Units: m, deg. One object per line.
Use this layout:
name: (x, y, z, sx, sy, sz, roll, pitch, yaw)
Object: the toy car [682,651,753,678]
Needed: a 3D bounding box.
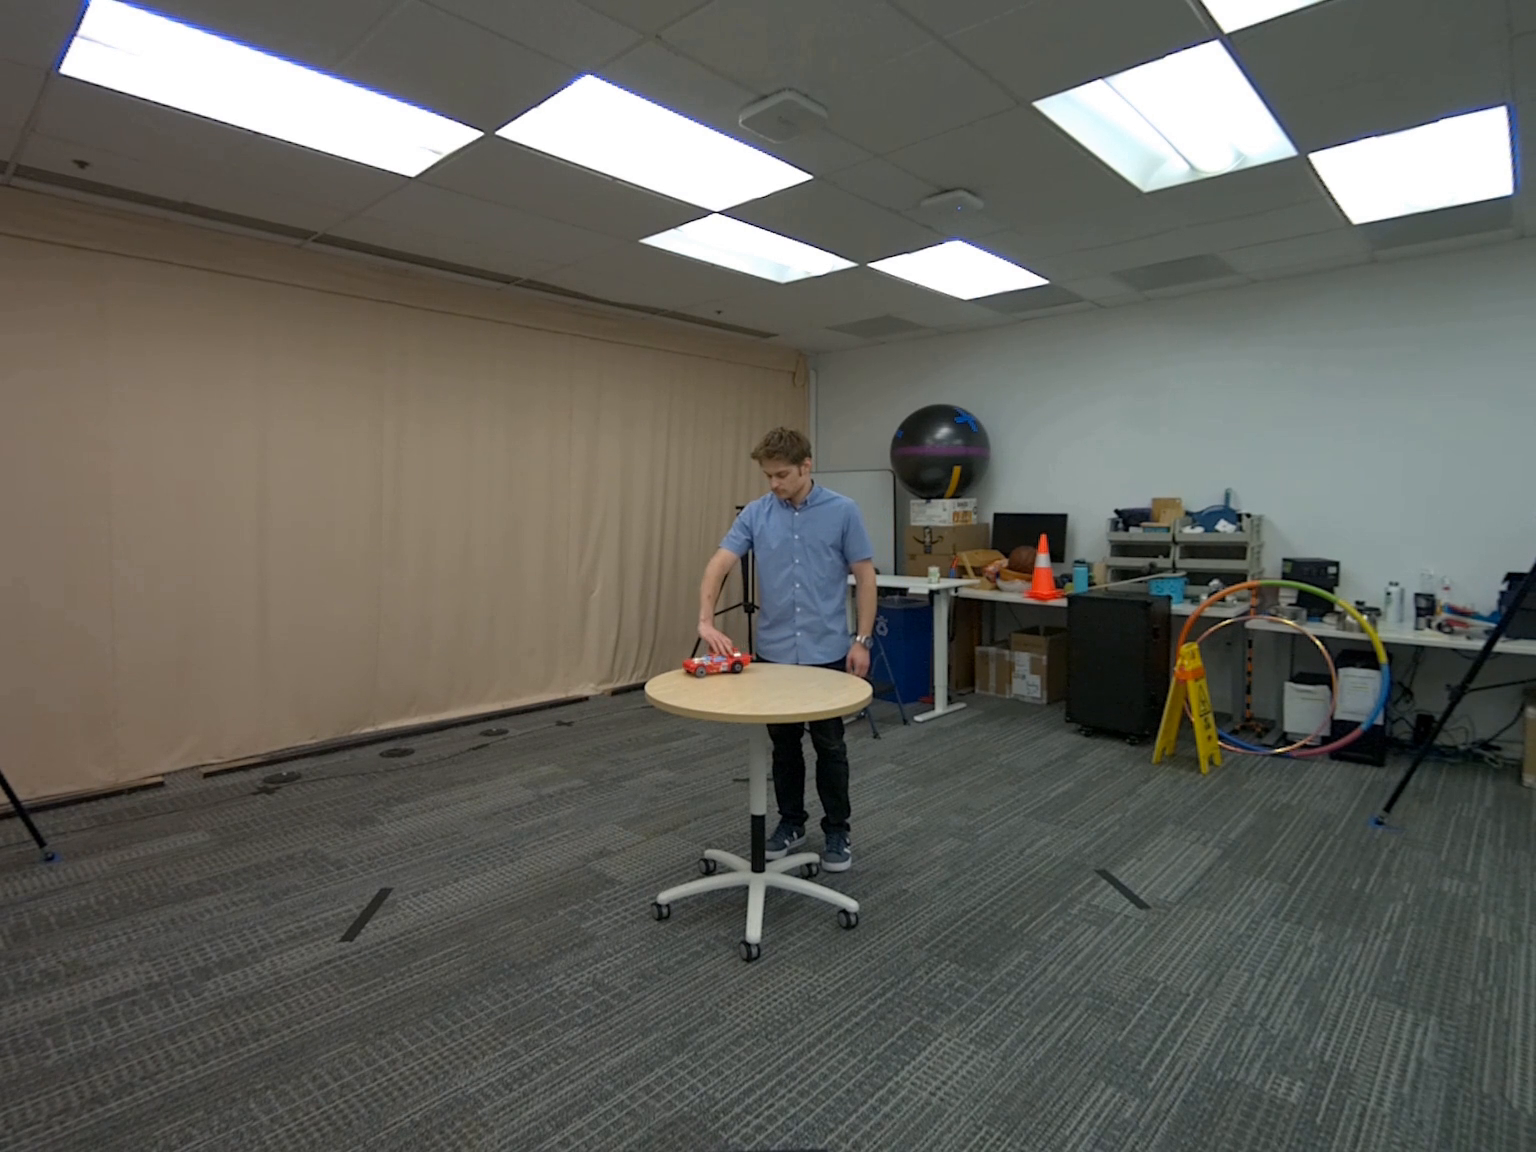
toy car: (-0.178, 0.320, 3.064, 0.249, 0.082, 0.134, -14, 10, -24)
